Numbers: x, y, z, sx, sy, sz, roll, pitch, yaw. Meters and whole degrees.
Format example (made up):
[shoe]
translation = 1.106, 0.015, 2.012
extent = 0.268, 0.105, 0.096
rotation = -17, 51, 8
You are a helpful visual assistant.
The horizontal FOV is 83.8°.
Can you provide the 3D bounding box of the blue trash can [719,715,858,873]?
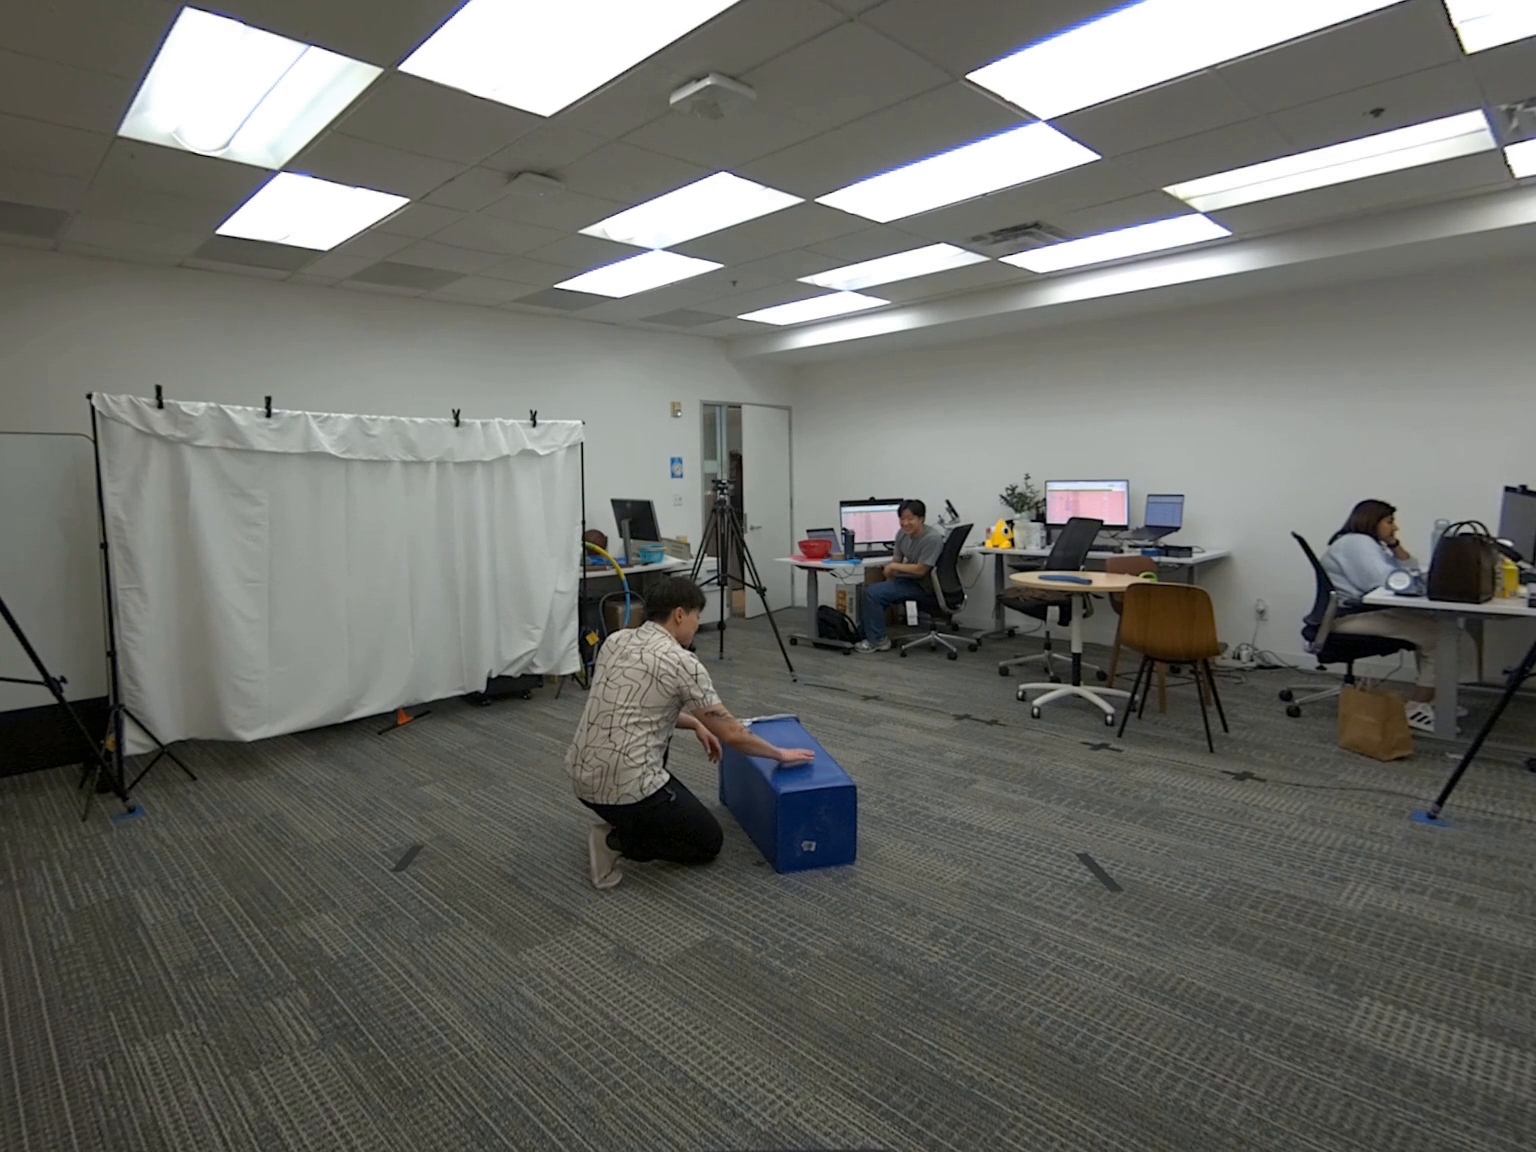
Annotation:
[blue trash can]
translation = 0.064, 0.847, 3.380
extent = 0.373, 0.371, 0.729
rotation = -3, 9, -16
